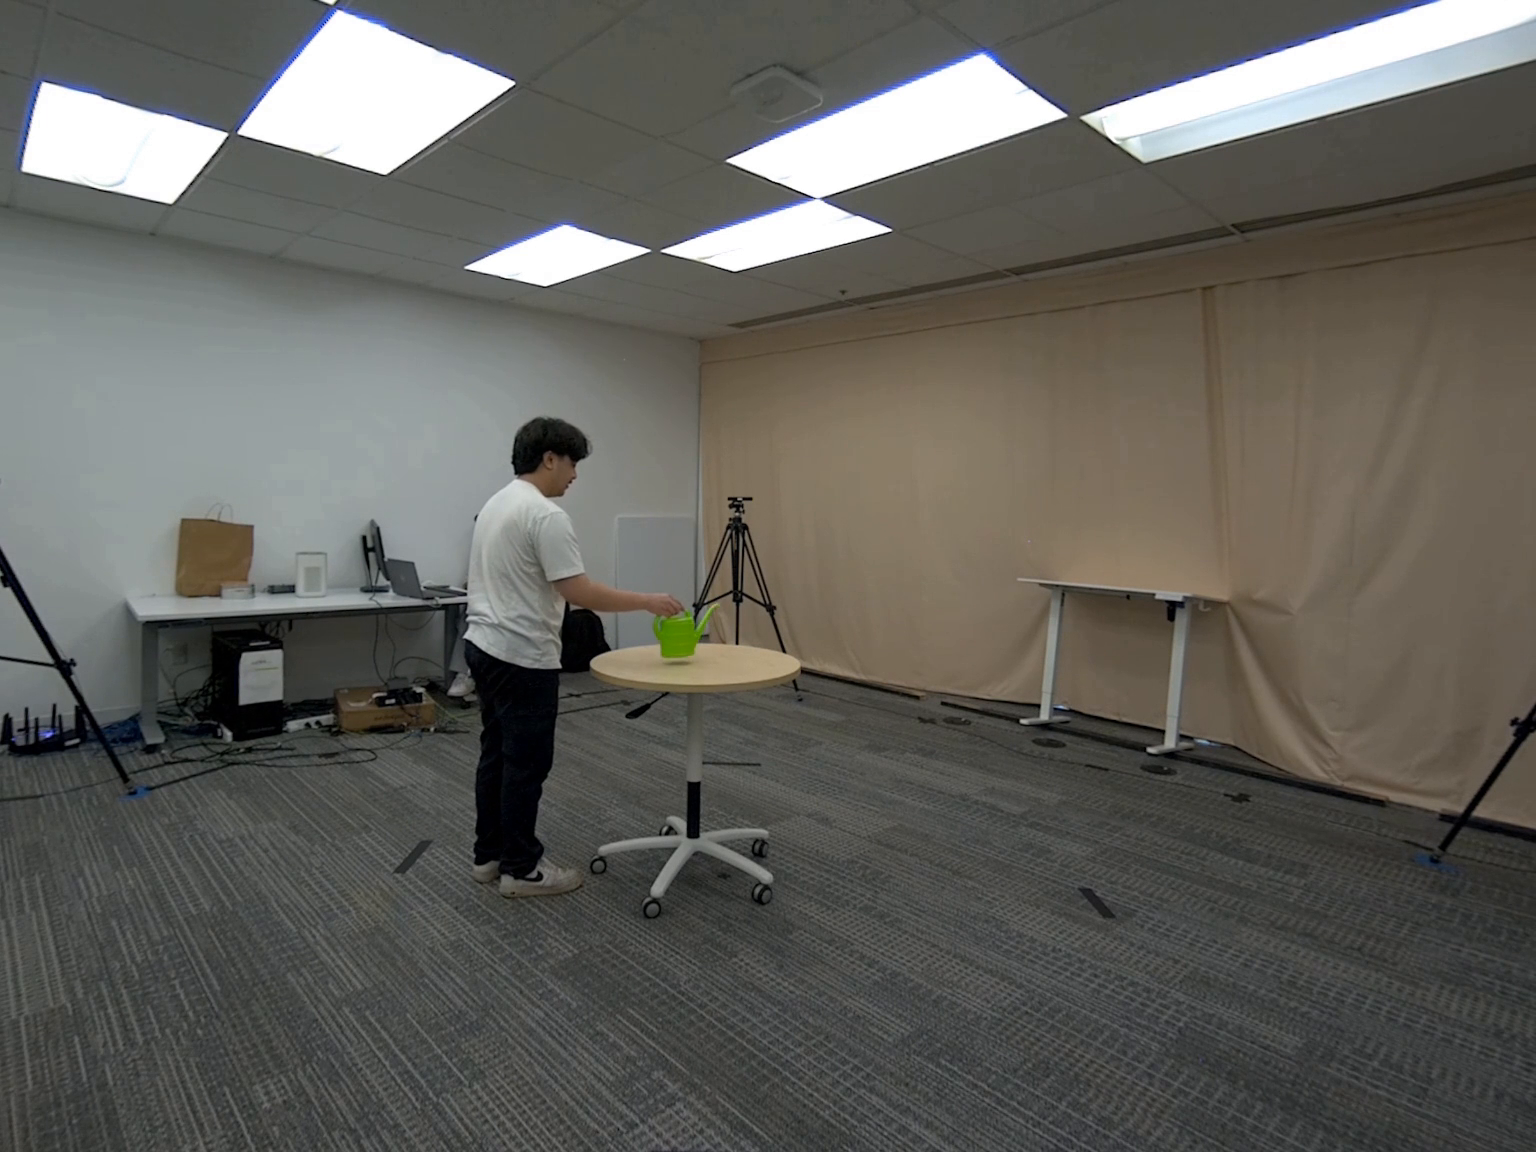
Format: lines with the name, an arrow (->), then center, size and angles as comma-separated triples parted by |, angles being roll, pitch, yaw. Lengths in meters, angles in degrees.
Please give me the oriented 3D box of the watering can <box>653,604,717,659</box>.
watering can -> -0.304, 0.202, 3.042 | 0.274, 0.176, 0.100 | -3, 7, -19
